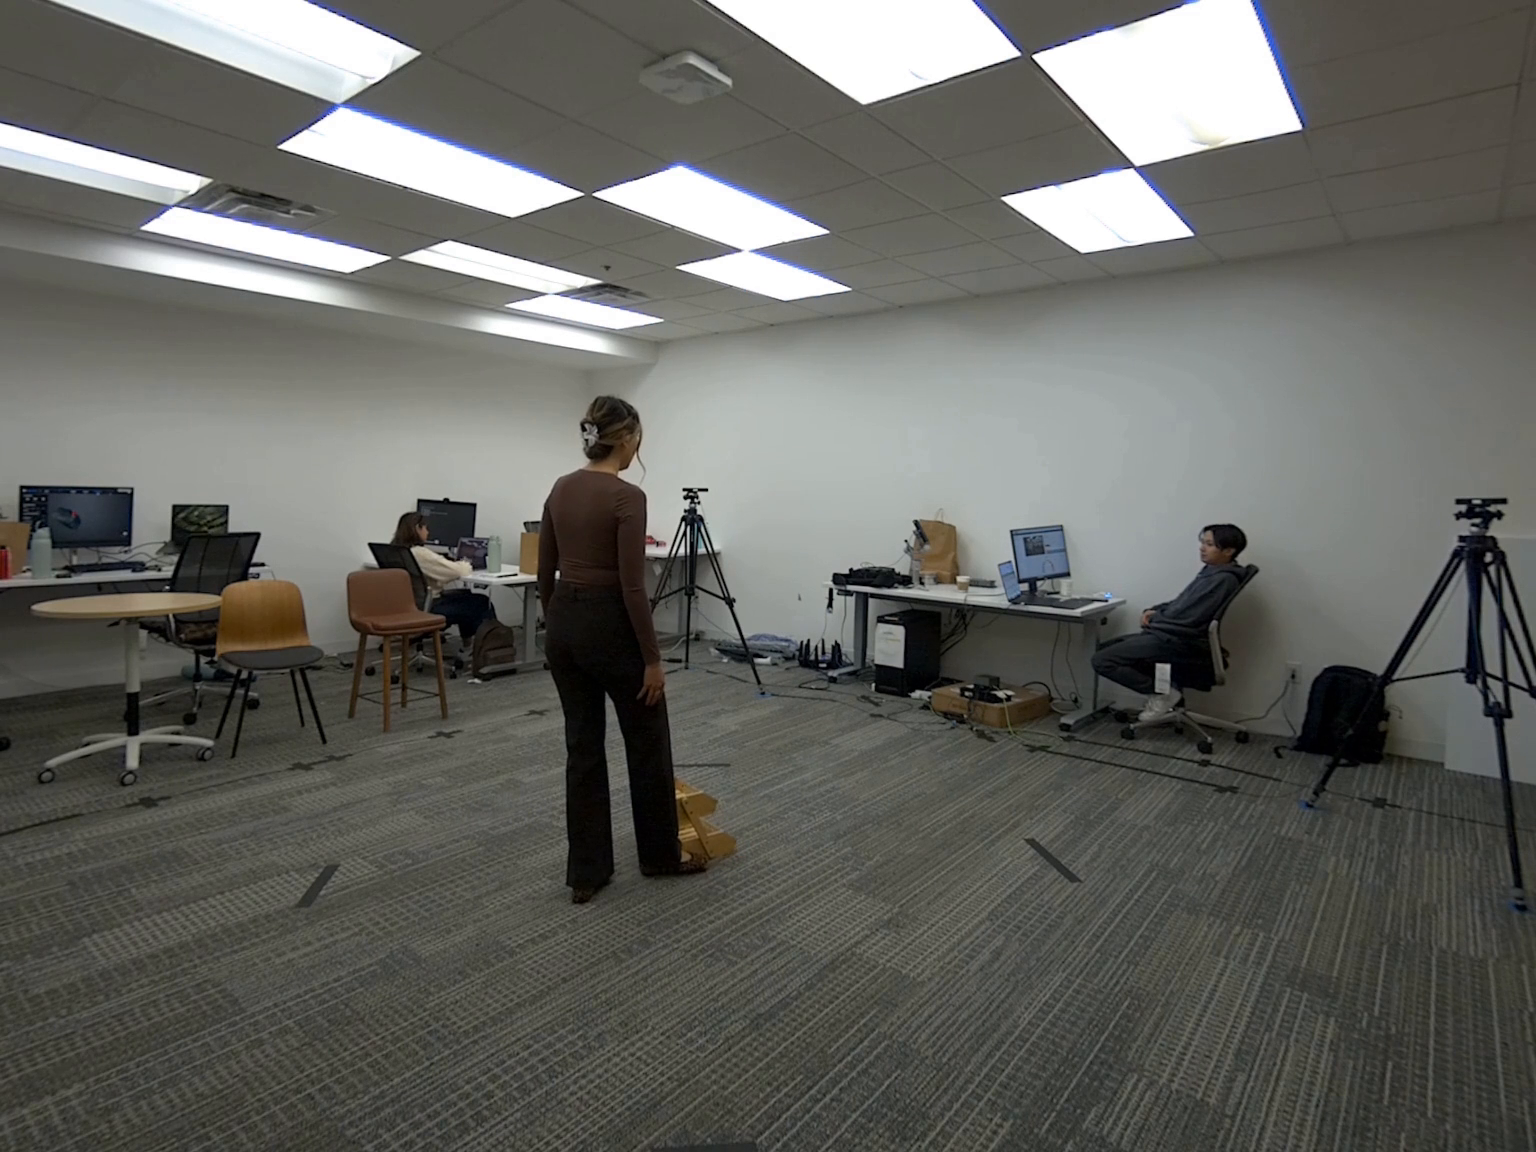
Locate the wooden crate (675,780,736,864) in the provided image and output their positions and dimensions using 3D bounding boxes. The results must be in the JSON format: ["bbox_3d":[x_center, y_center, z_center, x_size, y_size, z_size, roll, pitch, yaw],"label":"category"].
[{"bbox_3d":[-0.332,0.917,3.305,0.293,0.272,0.335,-3,5,-36],"label":"wooden crate"}]
